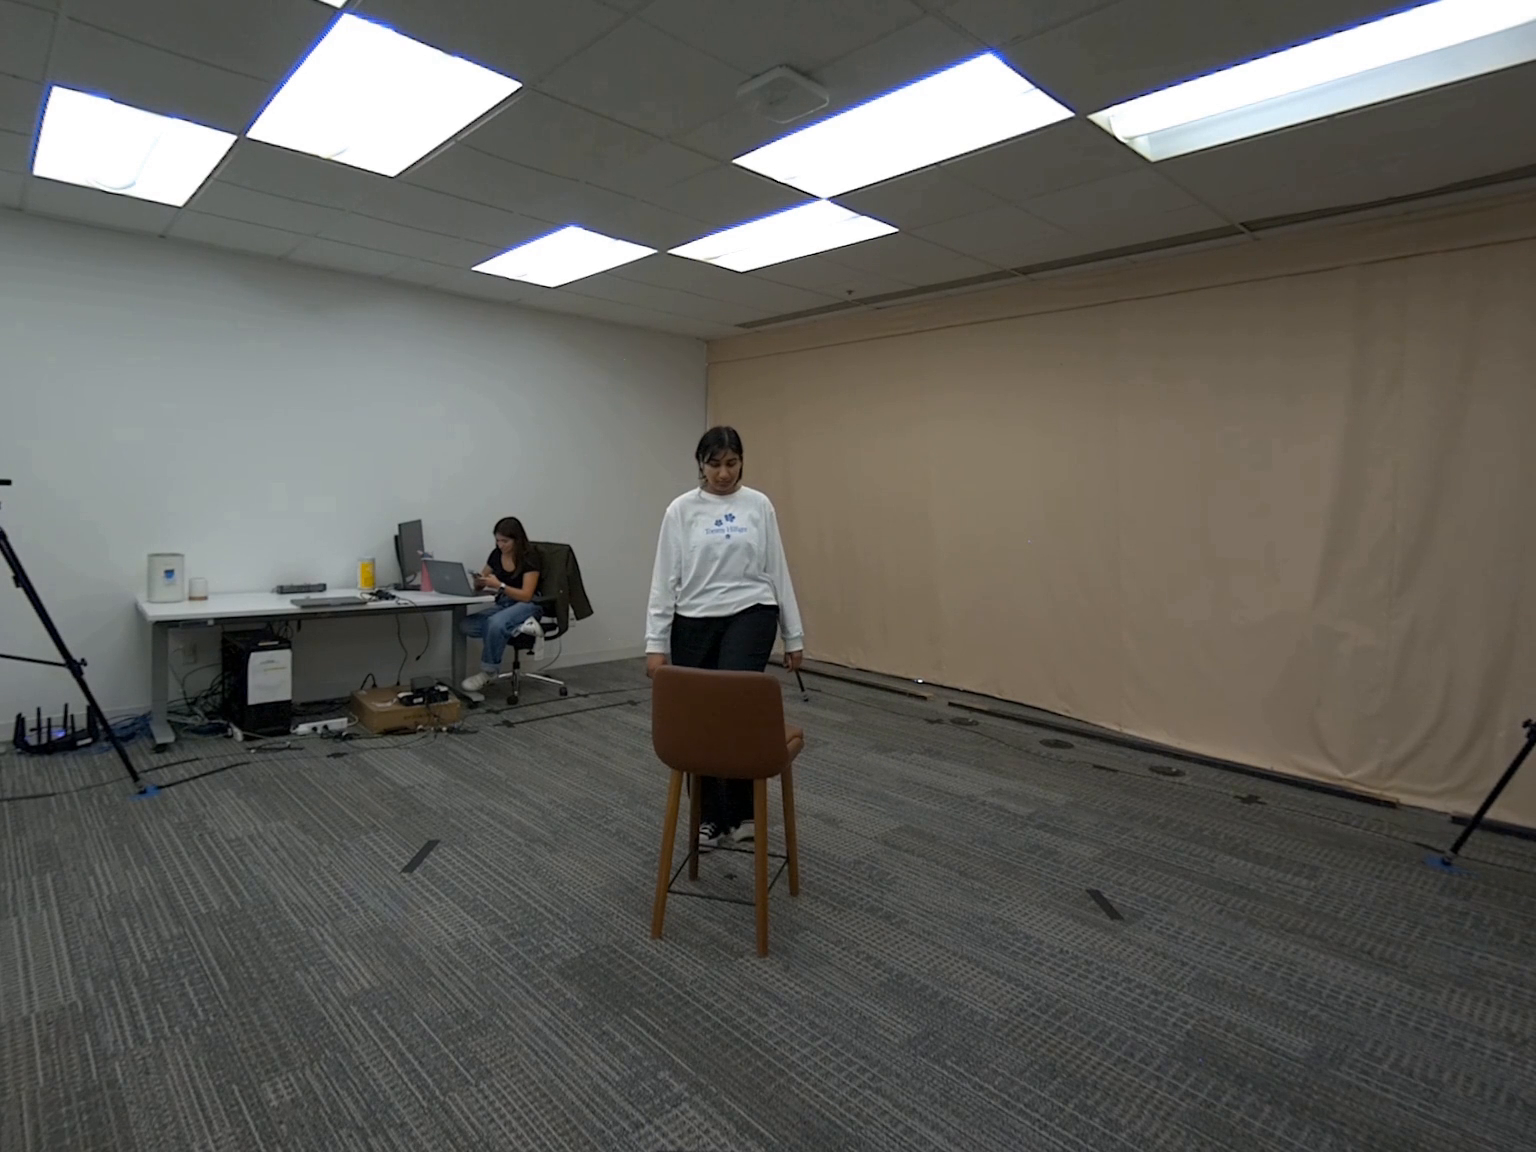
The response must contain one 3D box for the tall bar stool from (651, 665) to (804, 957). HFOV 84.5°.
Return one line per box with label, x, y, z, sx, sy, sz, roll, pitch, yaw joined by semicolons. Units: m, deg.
tall bar stool;-0.138;0.705;2.786;0.462;0.886;0.463;2;5;15
